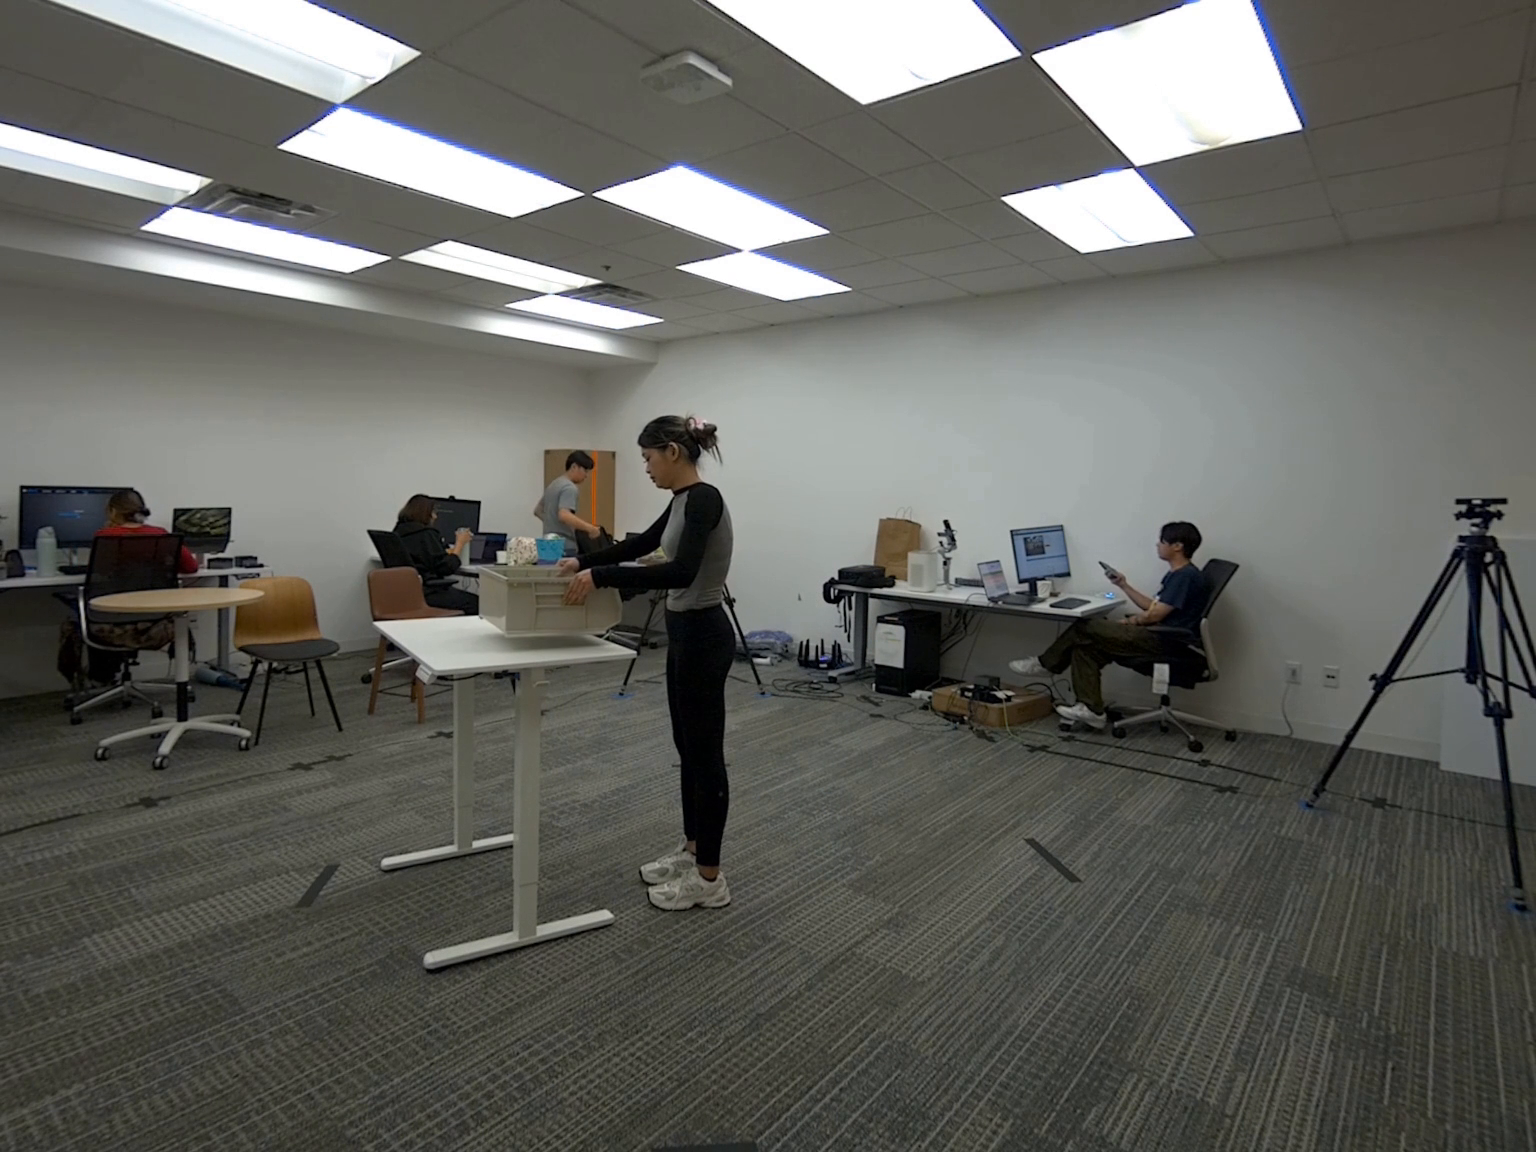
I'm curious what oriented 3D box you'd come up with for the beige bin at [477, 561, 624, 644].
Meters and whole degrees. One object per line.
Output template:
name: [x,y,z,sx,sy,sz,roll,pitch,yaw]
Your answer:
beige bin: [-0.735,0.072,2.799,0.368,0.188,0.435,-4,8,-27]
